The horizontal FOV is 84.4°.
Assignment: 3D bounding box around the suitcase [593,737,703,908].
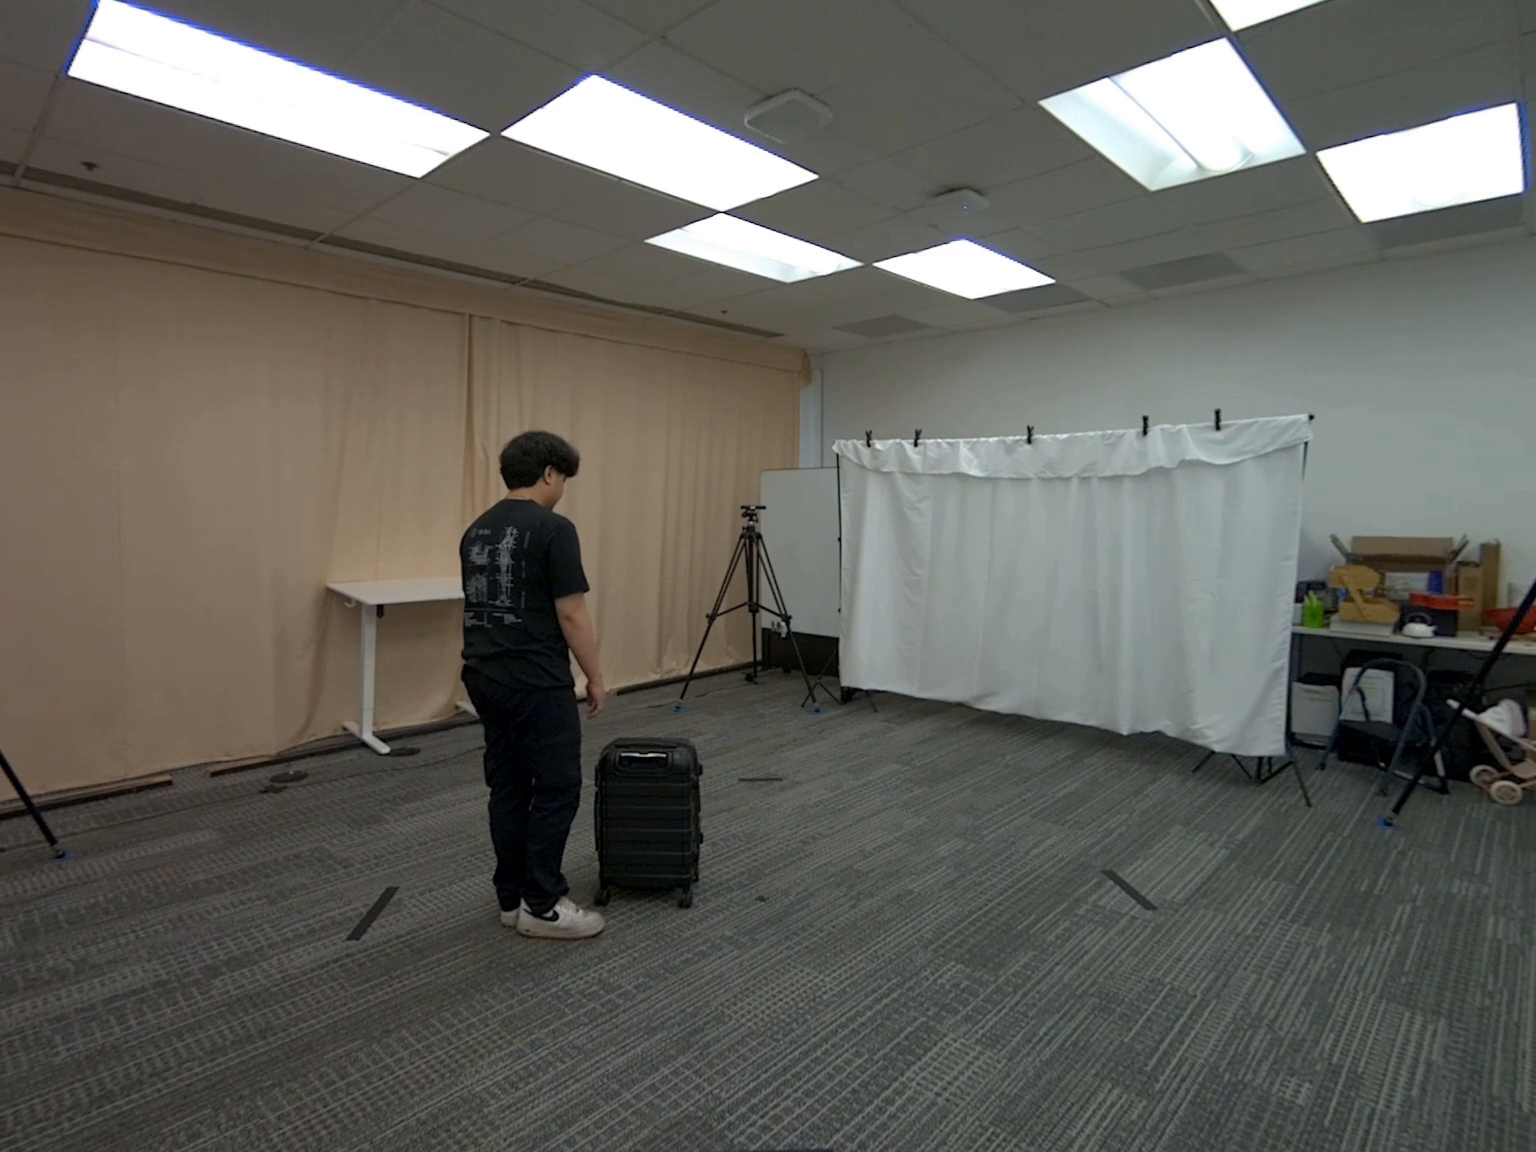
[{"bbox_3d":[-0.433,0.865,3.046,0.377,0.549,0.247,0,1,3],"label":"suitcase"}]
